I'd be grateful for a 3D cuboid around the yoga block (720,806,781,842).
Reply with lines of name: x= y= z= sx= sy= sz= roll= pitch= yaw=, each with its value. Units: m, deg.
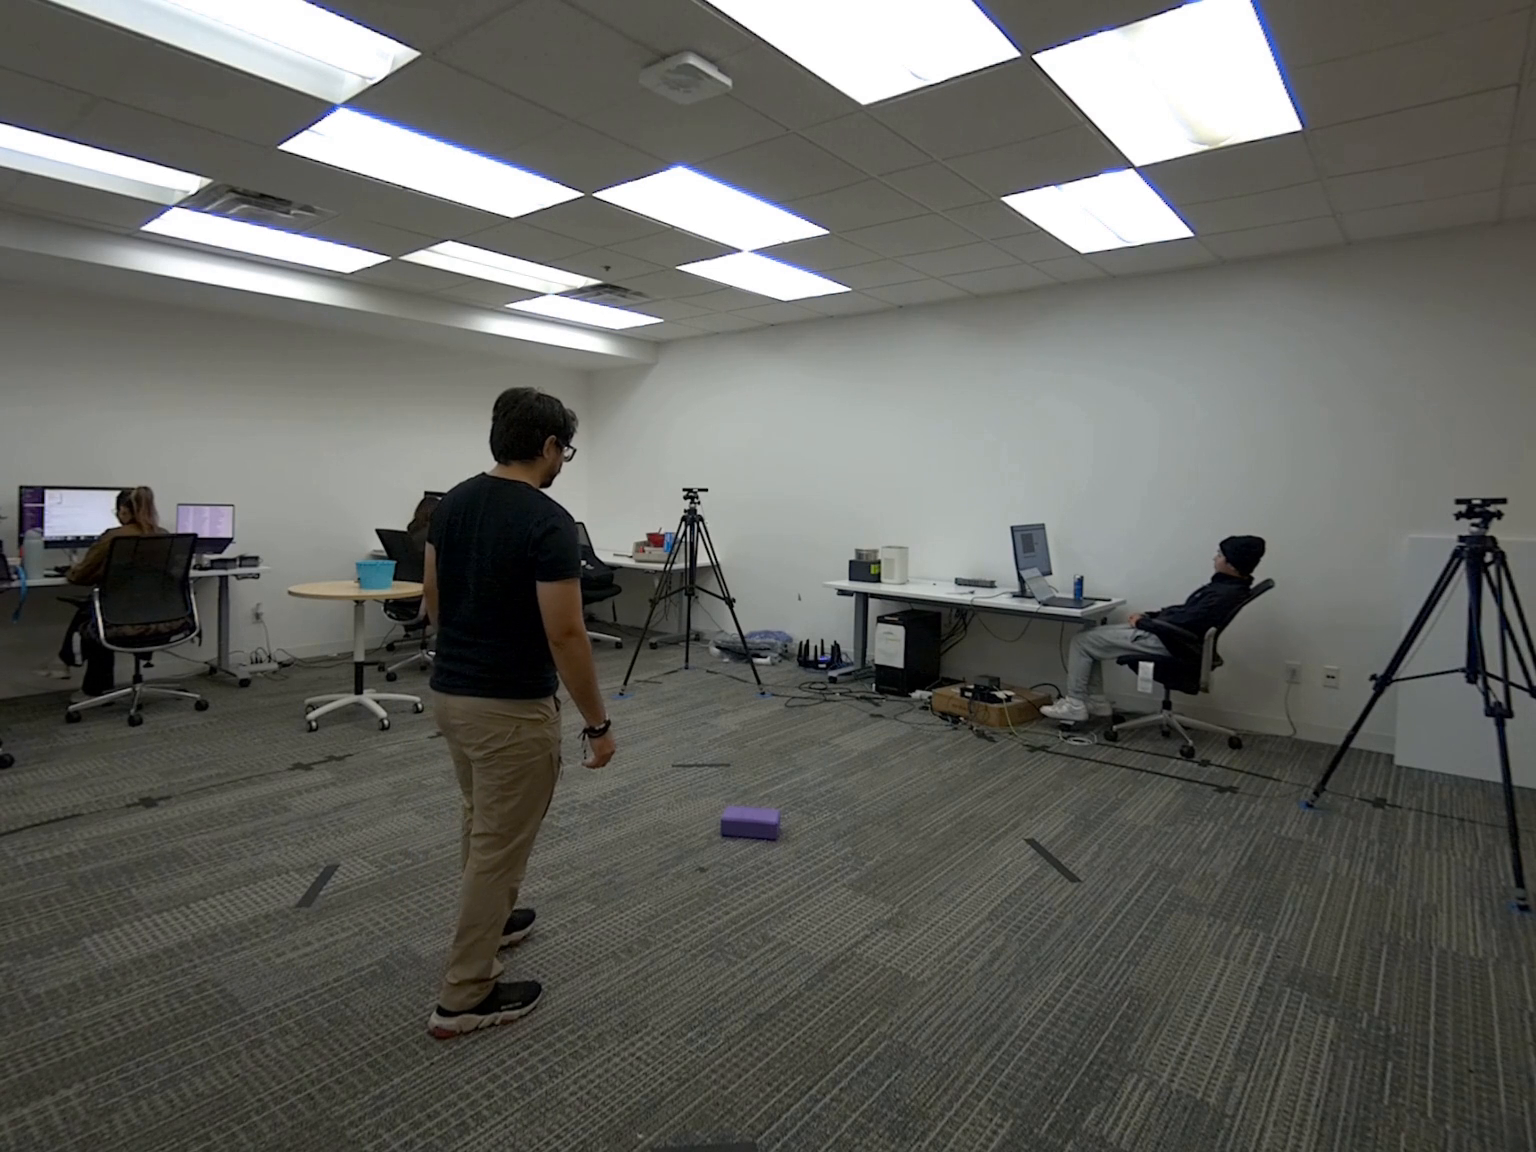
yoga block: x=-0.080 y=0.996 z=3.457 sx=0.232 sy=0.076 sz=0.148 roll=3 pitch=6 yaw=8
